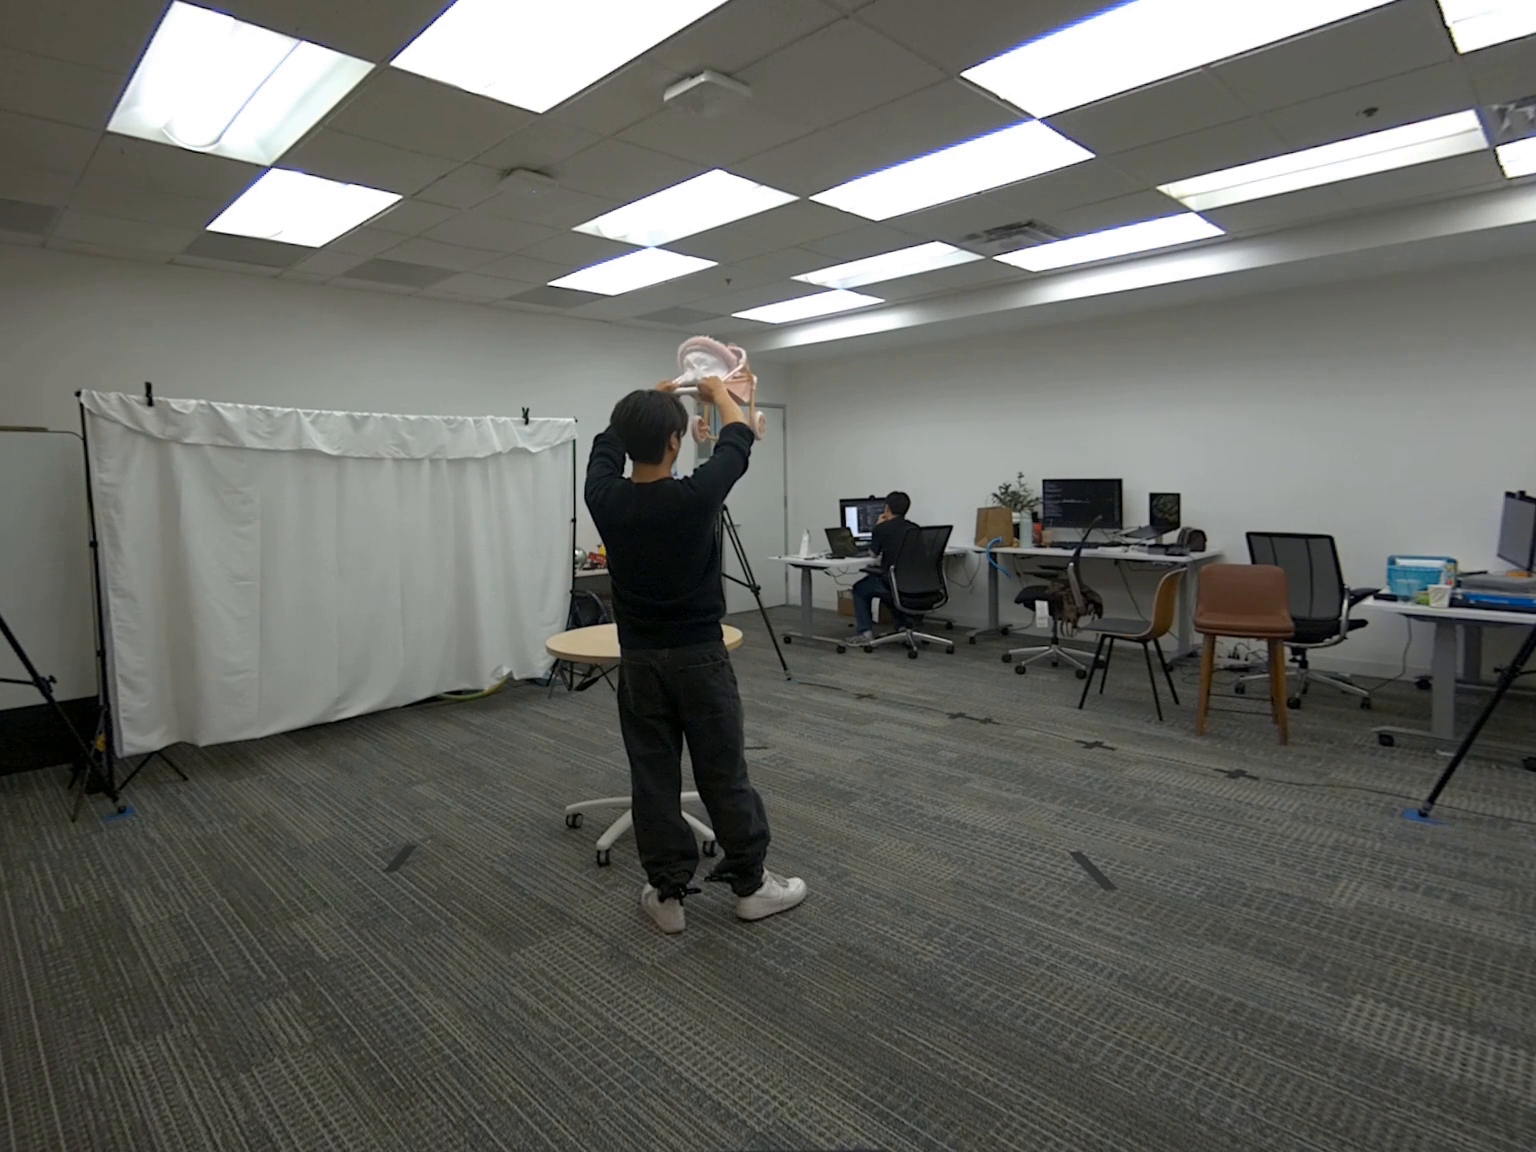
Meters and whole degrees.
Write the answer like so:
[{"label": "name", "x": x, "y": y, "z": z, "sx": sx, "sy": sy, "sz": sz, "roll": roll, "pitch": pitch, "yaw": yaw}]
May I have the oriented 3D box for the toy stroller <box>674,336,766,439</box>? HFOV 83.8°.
[{"label": "toy stroller", "x": -0.184, "y": -0.719, "z": 3.197, "sx": 0.288, "sy": 0.345, "sz": 0.517, "roll": 5, "pitch": -17, "yaw": 22}]
